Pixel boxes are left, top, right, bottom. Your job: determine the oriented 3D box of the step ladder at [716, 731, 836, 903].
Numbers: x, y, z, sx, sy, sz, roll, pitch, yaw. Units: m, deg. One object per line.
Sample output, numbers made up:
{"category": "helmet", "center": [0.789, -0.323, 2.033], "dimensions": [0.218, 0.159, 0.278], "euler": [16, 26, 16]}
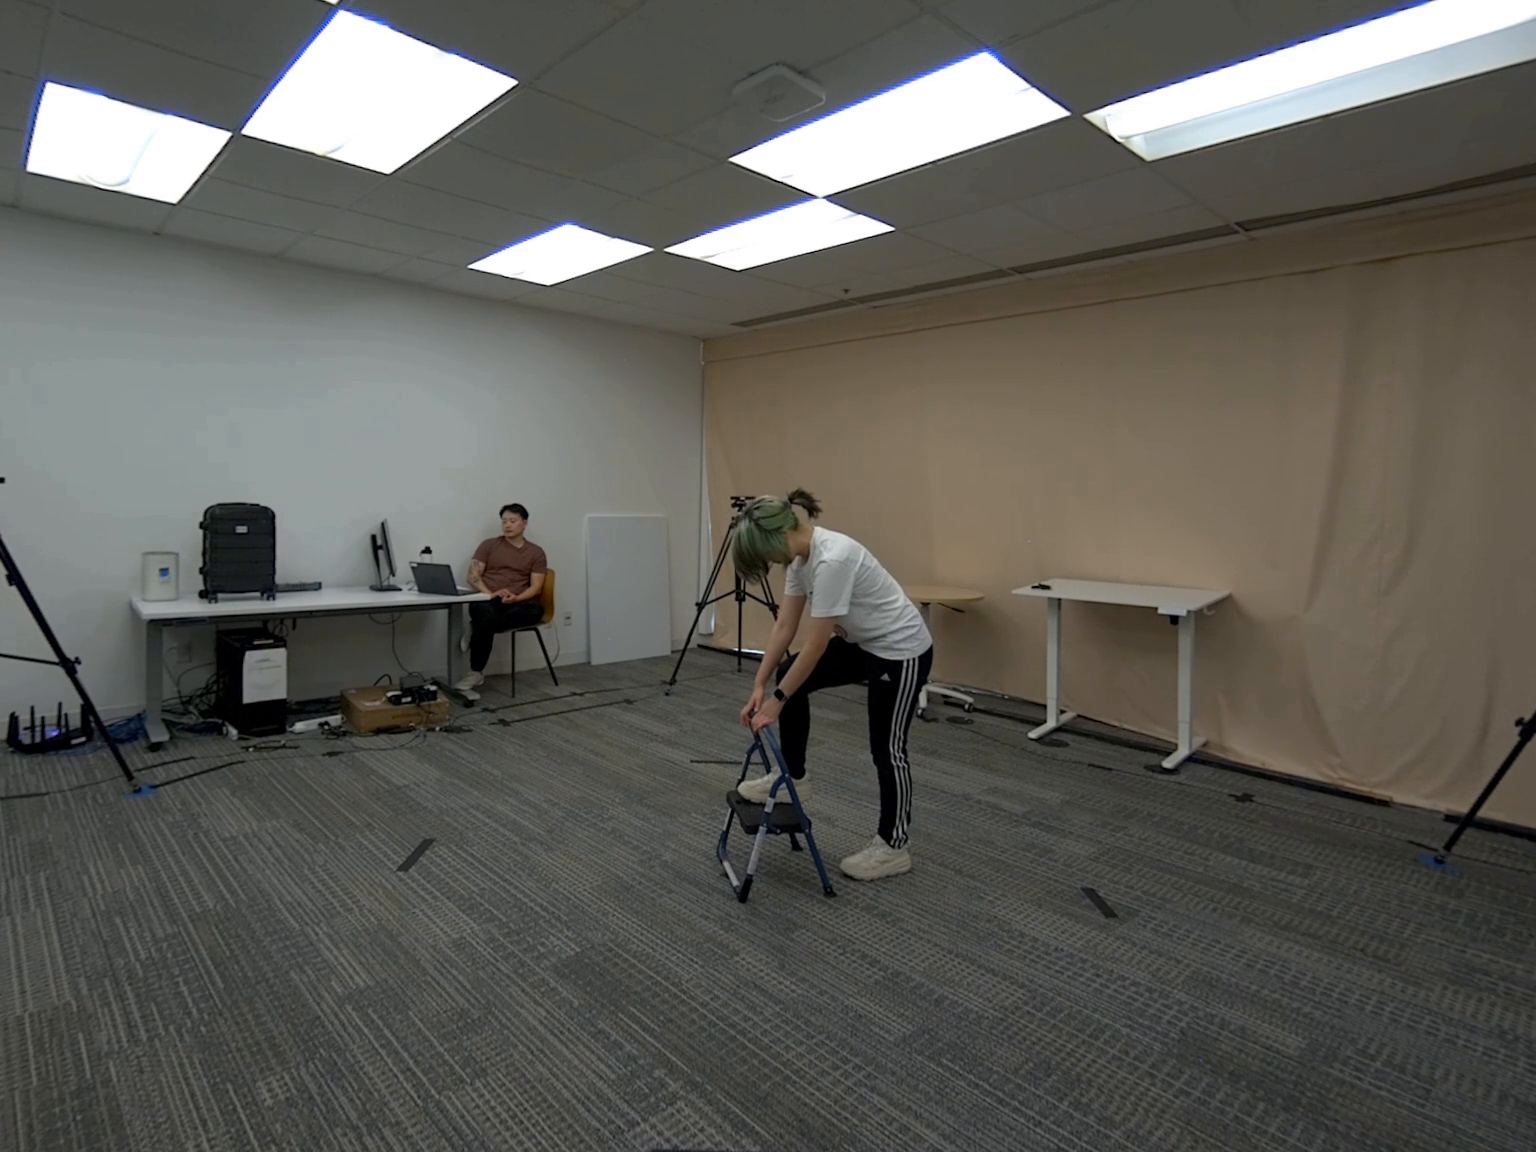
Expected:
{"category": "step ladder", "center": [0.020, 0.809, 3.104], "dimensions": [0.345, 0.605, 0.436], "euler": [1, 3, -15]}
